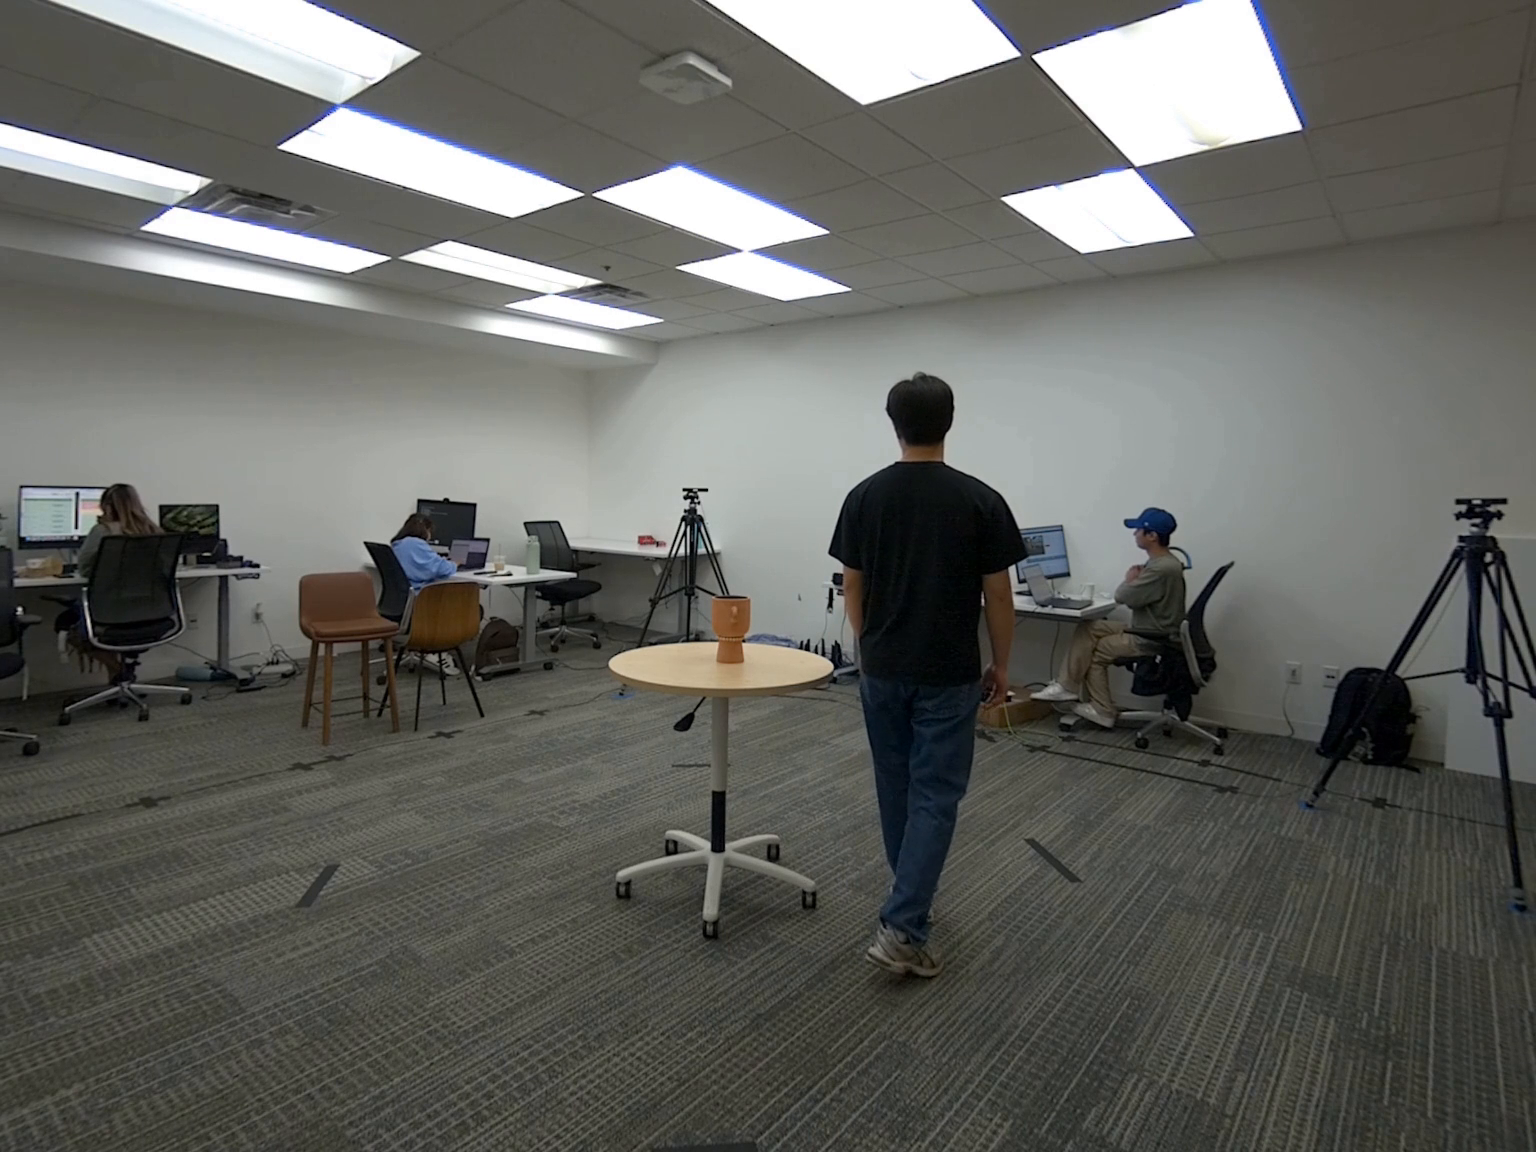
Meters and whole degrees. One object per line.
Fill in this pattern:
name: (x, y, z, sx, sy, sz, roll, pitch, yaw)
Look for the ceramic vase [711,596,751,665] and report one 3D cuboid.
ceramic vase: (-0.138, 0.181, 2.936, 0.138, 0.219, 0.155, 3, 3, 29)
